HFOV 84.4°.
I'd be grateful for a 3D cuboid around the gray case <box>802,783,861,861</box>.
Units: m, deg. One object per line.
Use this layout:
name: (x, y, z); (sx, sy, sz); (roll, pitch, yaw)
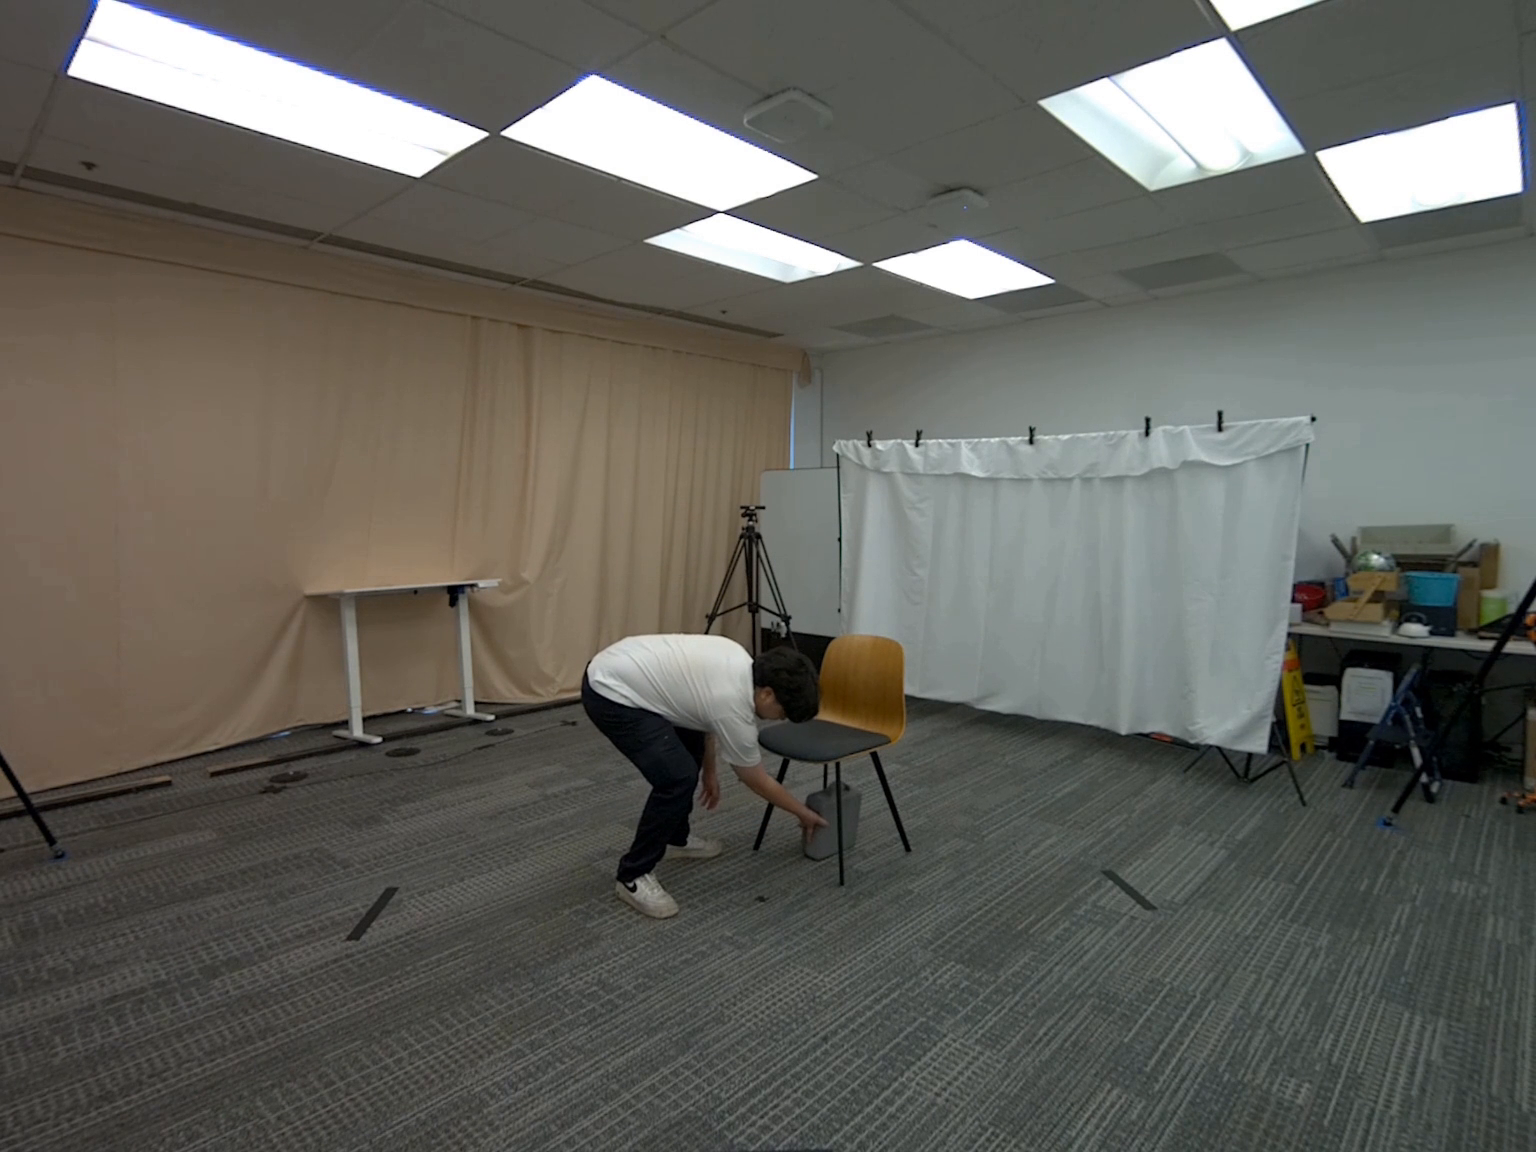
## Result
gray case: (0.259, 0.979, 3.376); (0.249, 0.259, 0.108); (-2, 11, -43)
